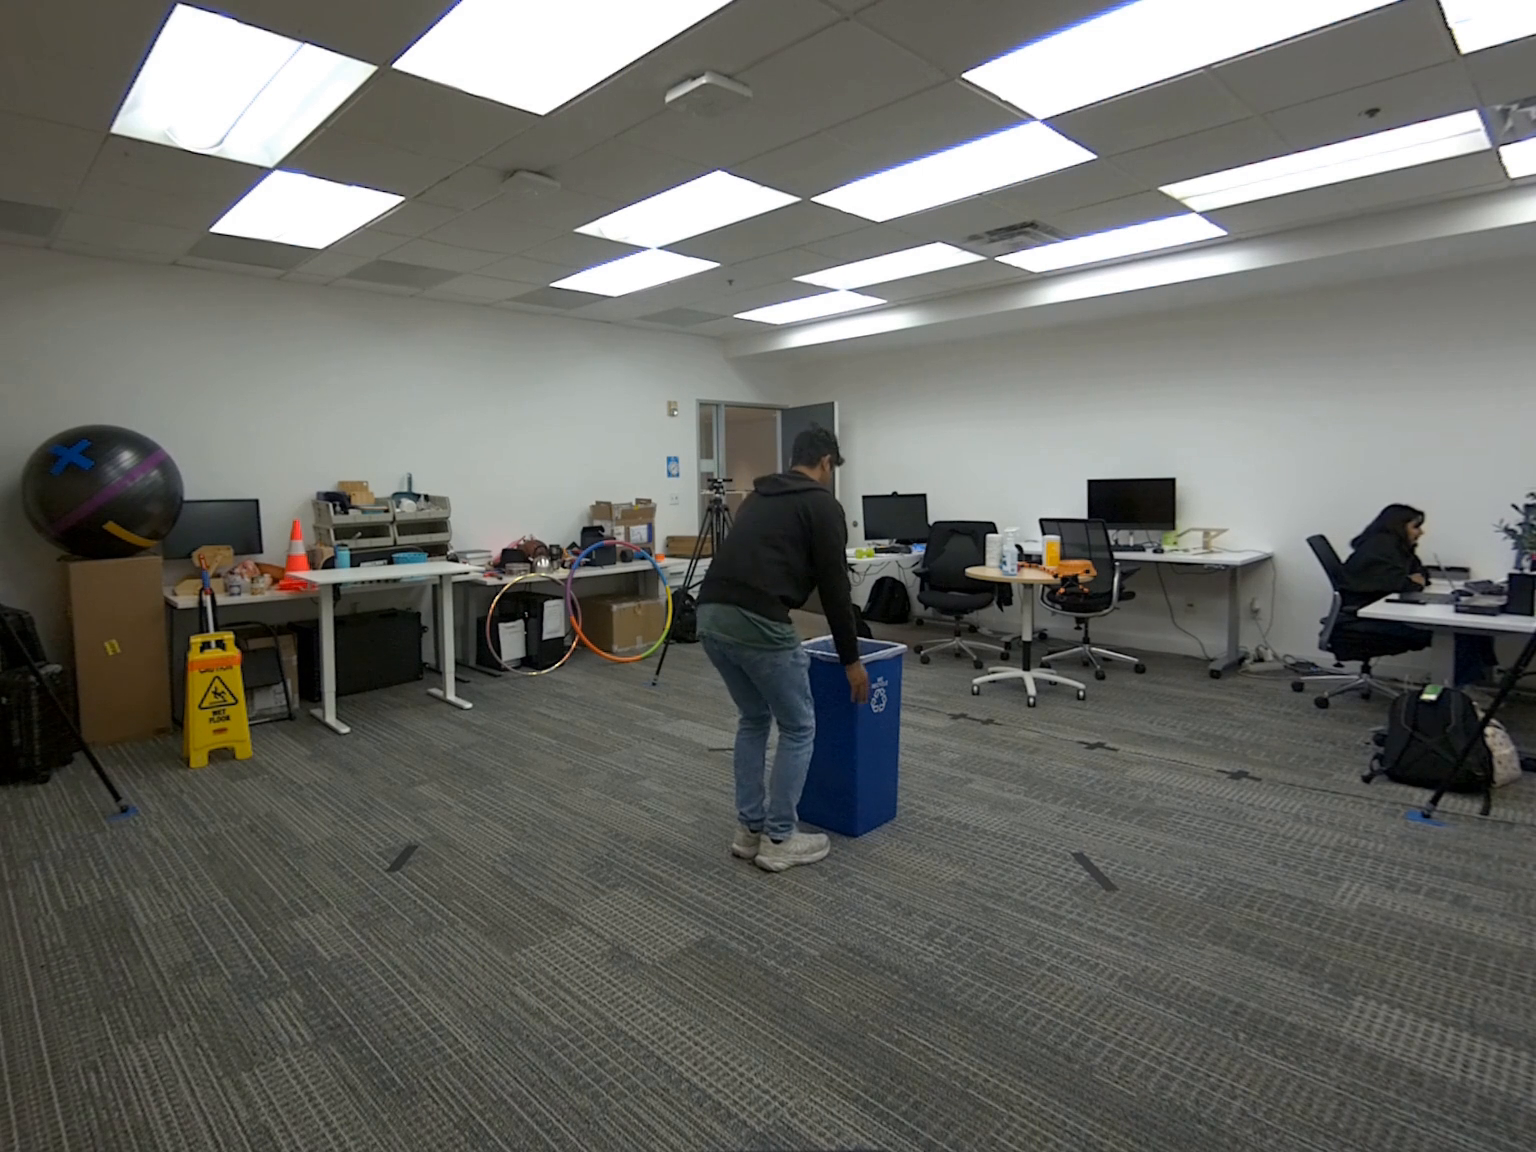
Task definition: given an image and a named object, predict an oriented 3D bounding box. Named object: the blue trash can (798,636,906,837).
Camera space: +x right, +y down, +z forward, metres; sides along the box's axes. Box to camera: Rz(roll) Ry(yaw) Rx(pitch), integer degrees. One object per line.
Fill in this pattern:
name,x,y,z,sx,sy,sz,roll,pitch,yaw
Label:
blue trash can,0.326,0.637,3.502,0.390,0.711,0.364,4,6,42
